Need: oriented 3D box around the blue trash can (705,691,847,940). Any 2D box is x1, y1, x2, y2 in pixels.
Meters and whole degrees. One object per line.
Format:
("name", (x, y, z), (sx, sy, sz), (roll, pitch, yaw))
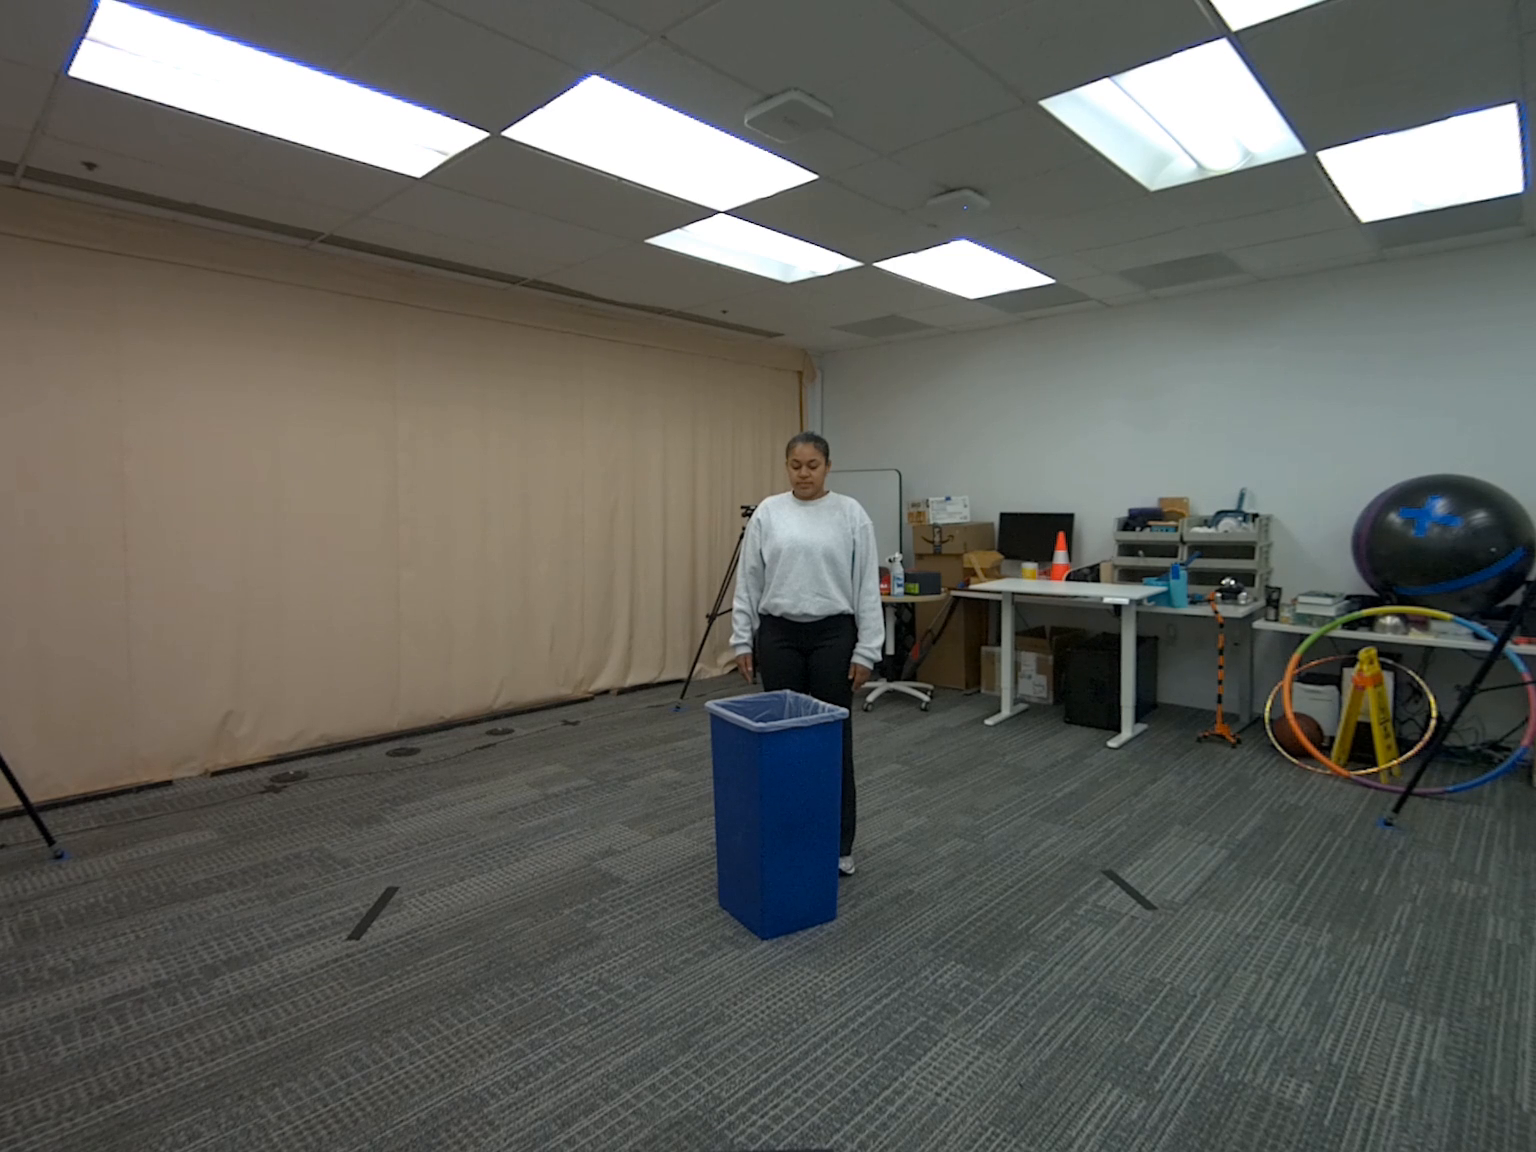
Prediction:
("blue trash can", (0.019, 0.796, 2.876), (0.367, 0.712, 0.386), (-3, 5, -34))
